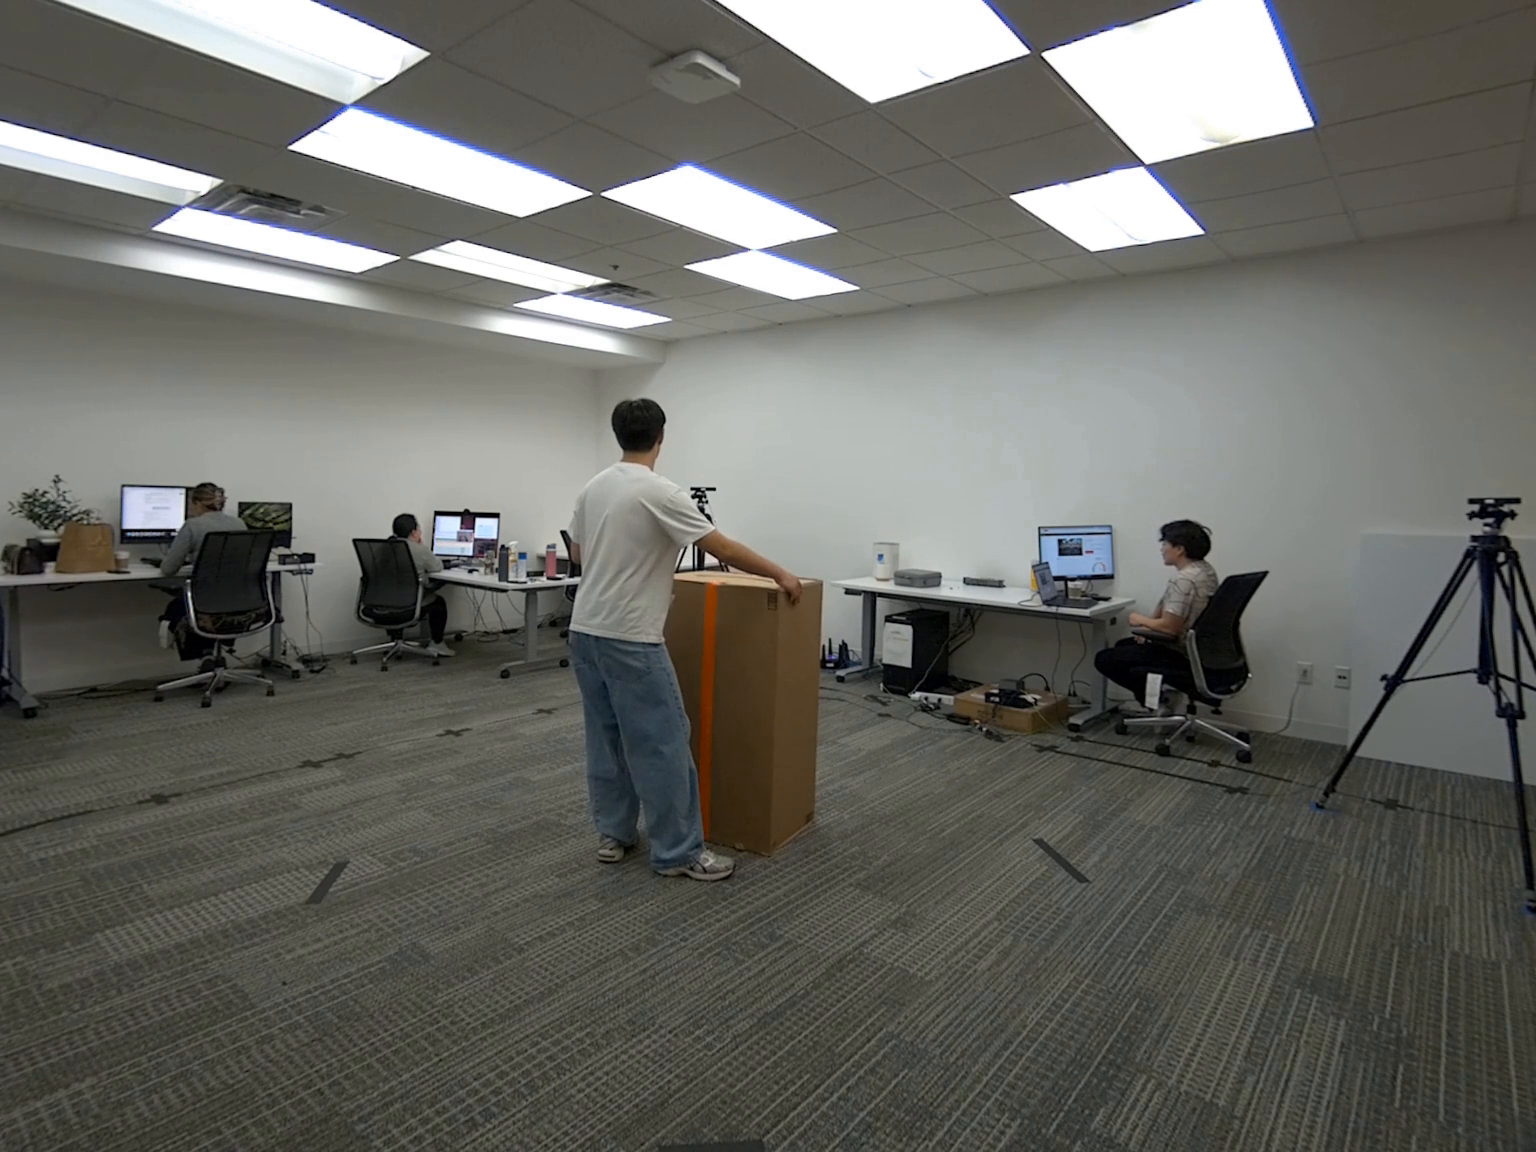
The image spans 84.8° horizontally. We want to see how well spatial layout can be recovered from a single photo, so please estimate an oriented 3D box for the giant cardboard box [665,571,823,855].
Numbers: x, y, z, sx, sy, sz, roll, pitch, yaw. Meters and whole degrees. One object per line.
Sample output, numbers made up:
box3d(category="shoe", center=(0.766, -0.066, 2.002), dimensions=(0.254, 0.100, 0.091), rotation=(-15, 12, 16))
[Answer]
box3d(category="giant cardboard box", center=(-0.140, 0.517, 3.517), dimensions=(0.594, 1.022, 0.415), rotation=(4, 4, 29))
